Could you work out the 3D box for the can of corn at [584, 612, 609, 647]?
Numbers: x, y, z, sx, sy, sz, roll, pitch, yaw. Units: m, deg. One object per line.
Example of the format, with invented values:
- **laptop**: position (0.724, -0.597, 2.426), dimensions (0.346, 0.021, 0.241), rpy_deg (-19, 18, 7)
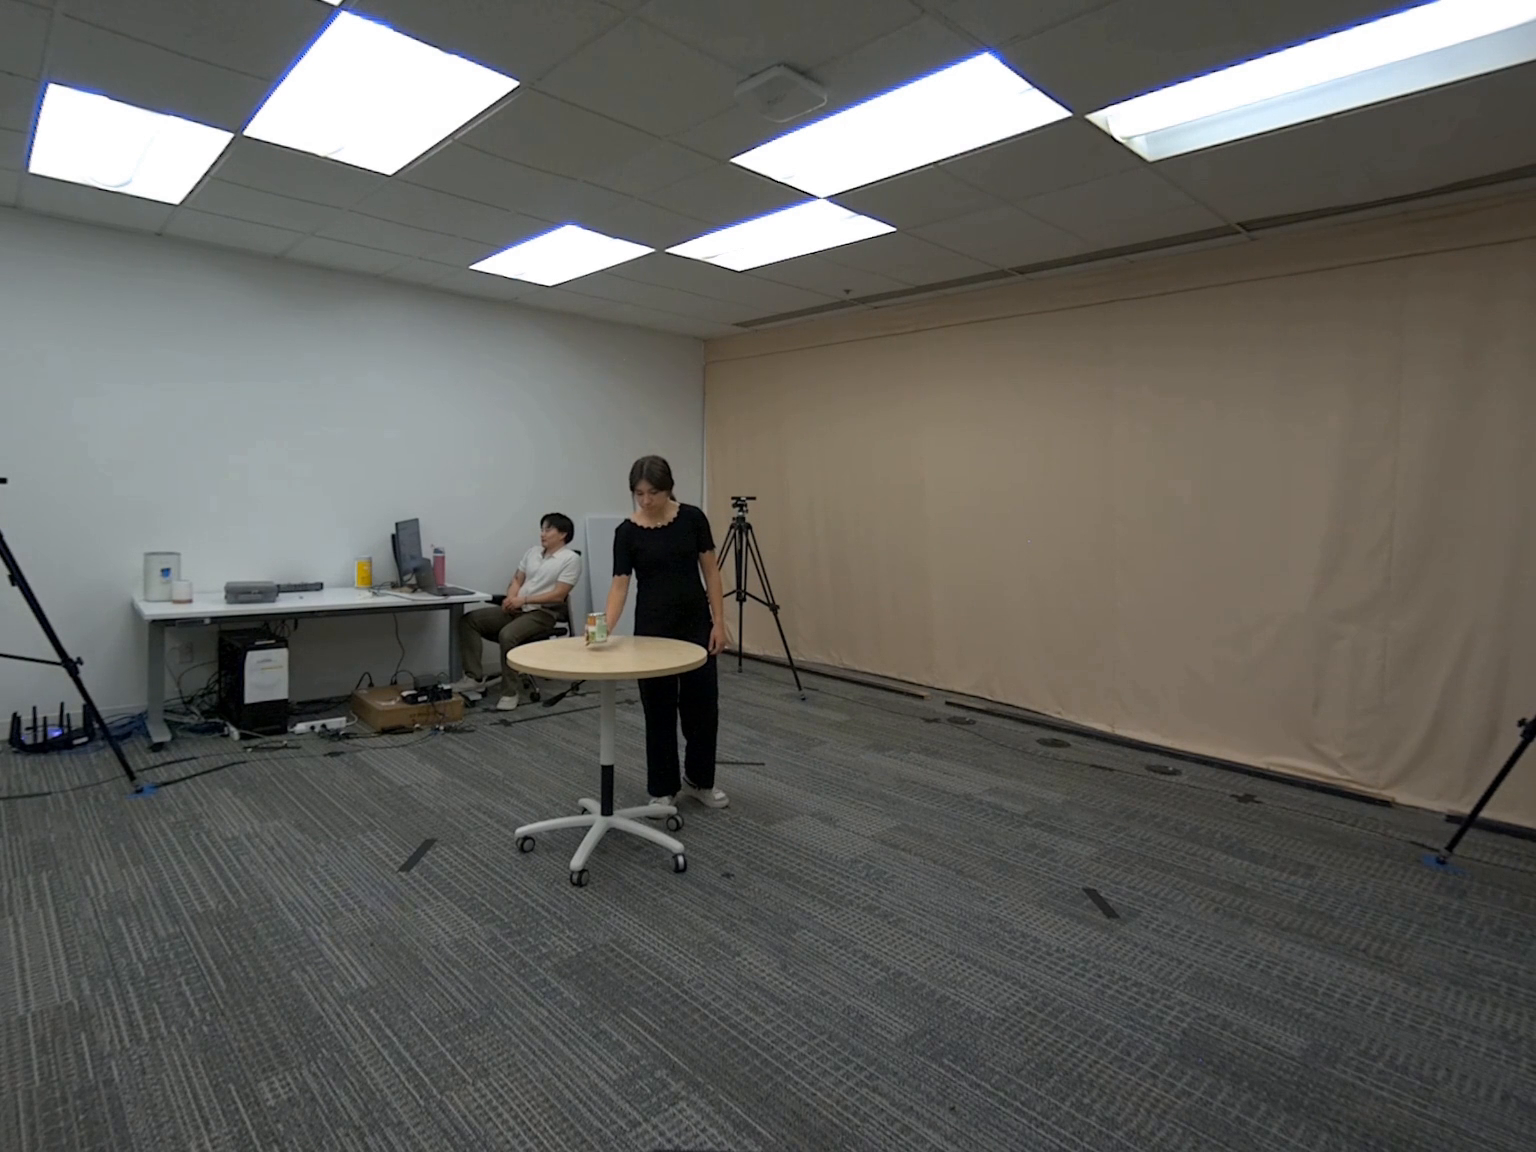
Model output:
- **can of corn**: position (-0.695, 0.207, 3.310), dimensions (0.074, 0.111, 0.074), rpy_deg (-3, -1, -1)
